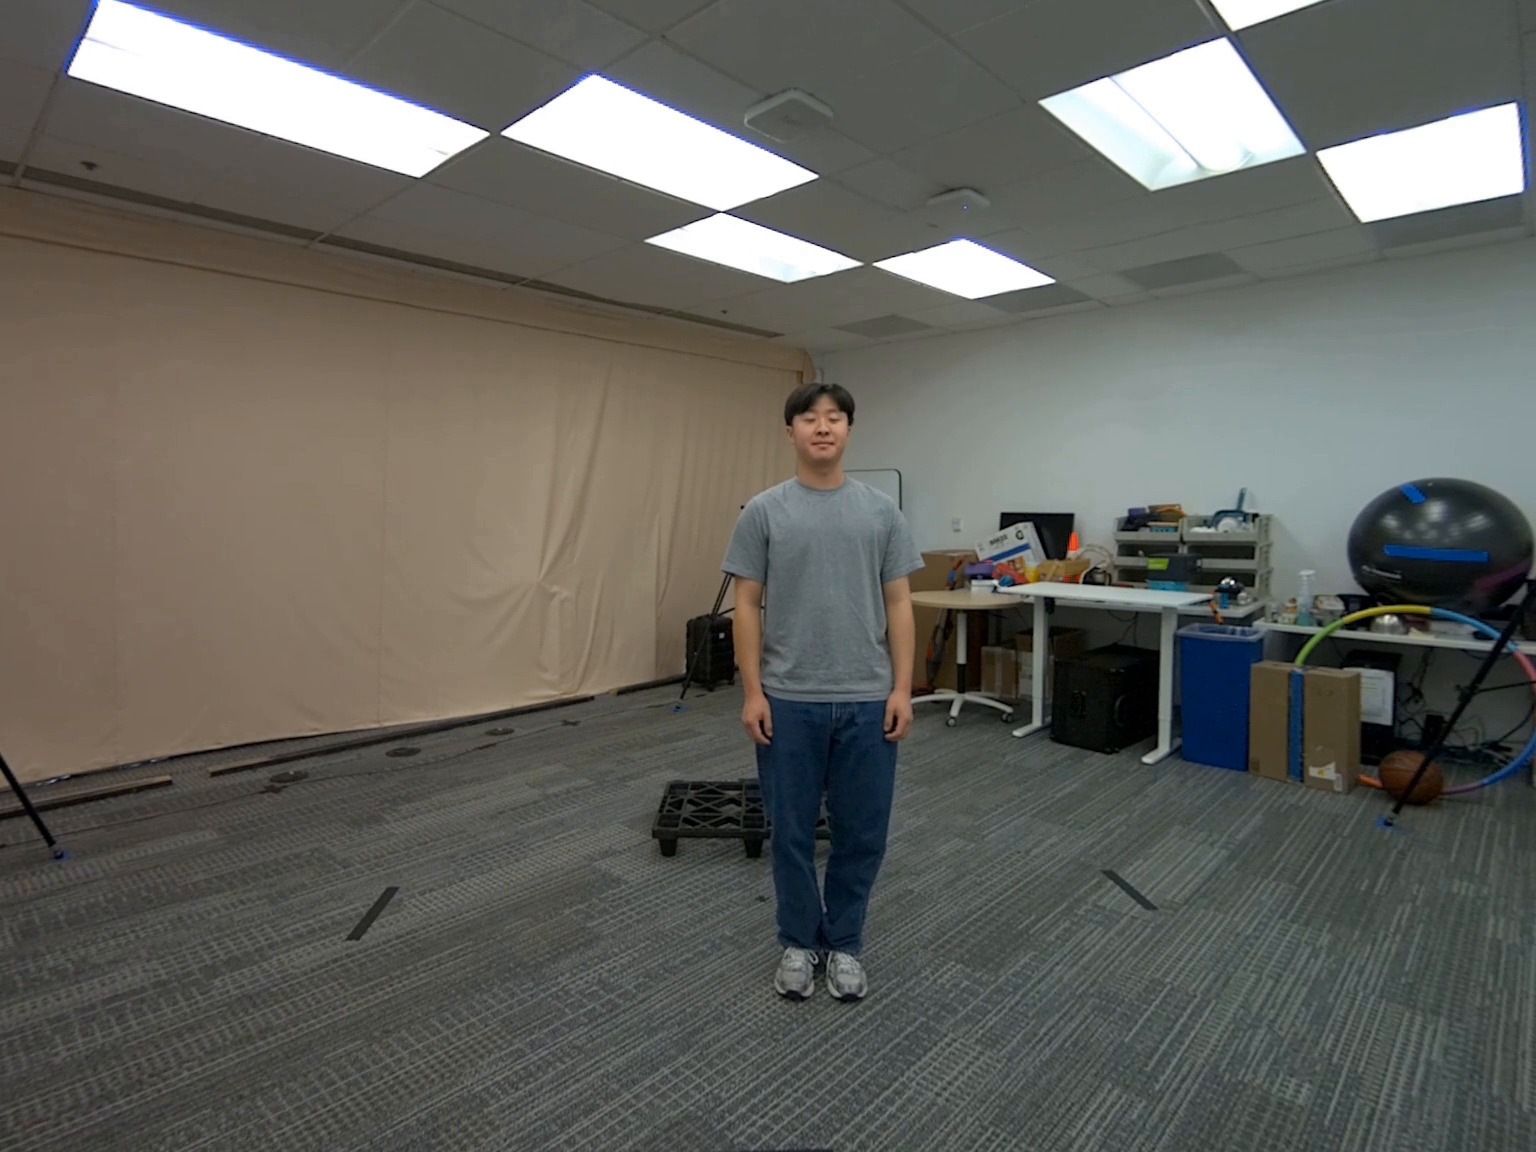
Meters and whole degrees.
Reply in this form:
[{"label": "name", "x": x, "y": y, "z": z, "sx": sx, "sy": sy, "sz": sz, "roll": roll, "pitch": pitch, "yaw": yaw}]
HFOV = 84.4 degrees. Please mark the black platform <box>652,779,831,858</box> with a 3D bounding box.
[{"label": "black platform", "x": -0.056, "y": 1.026, "z": 3.553, "sx": 0.808, "sy": 0.143, "sz": 0.605, "roll": -1, "pitch": 5, "yaw": 2}]
